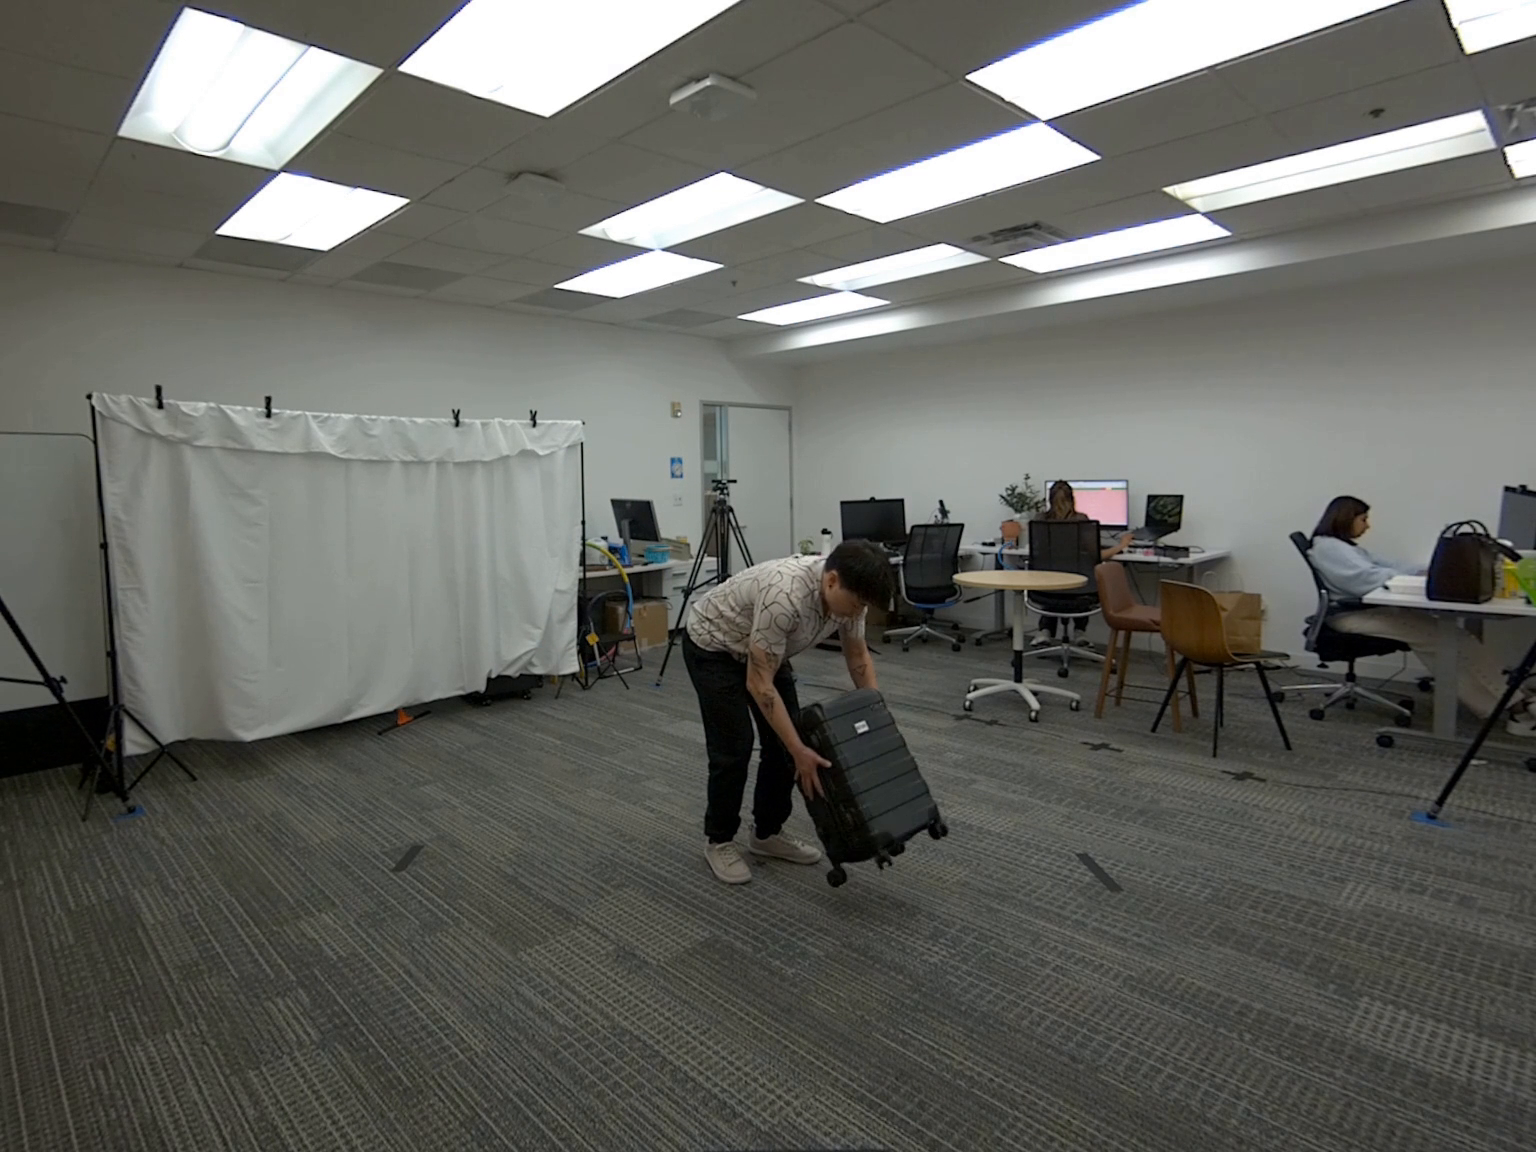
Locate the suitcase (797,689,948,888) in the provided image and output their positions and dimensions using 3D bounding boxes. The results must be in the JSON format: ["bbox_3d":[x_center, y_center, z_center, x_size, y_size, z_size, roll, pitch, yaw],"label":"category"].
[{"bbox_3d":[0.304,0.662,2.822,0.366,0.561,0.249,-8,-23,-39],"label":"suitcase"}]
